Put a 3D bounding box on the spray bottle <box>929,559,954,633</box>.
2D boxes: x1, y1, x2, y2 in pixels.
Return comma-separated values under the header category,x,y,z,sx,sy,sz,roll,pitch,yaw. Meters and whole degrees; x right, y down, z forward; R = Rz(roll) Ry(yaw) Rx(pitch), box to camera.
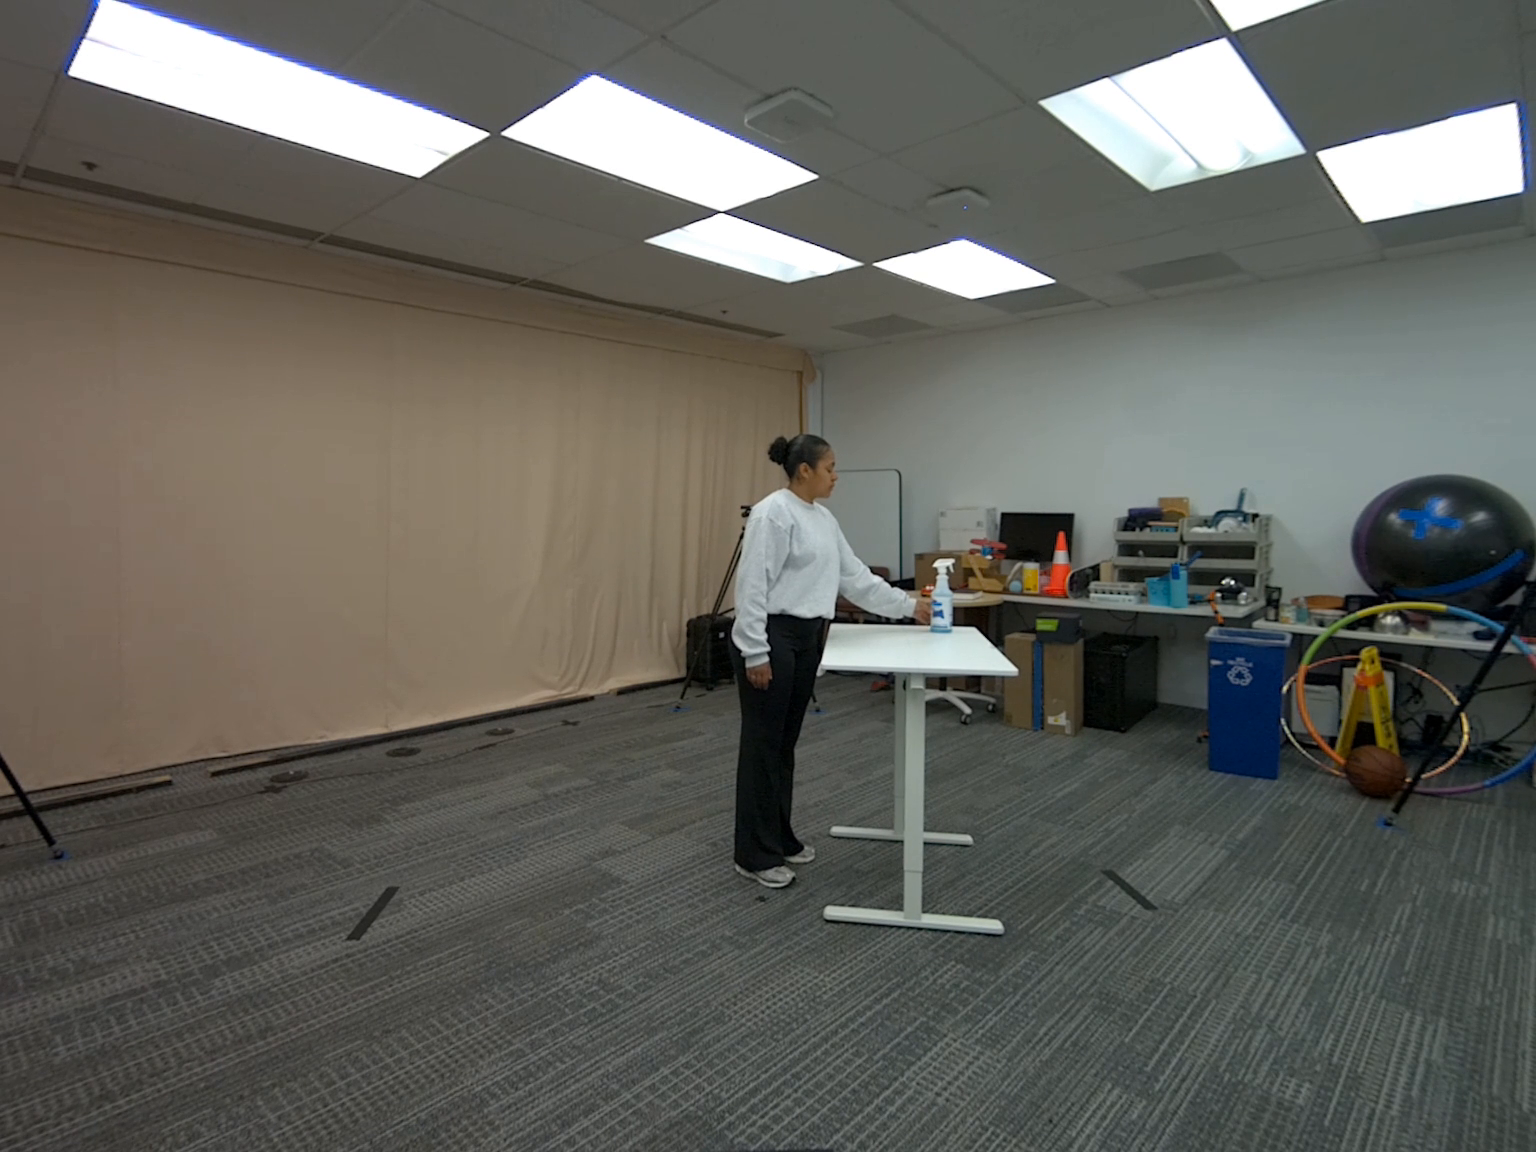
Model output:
category,x,y,z,sx,sy,sz,roll,pitch,yaw
spray bottle,0.712,0.082,3.411,0.091,0.297,0.086,1,2,14
